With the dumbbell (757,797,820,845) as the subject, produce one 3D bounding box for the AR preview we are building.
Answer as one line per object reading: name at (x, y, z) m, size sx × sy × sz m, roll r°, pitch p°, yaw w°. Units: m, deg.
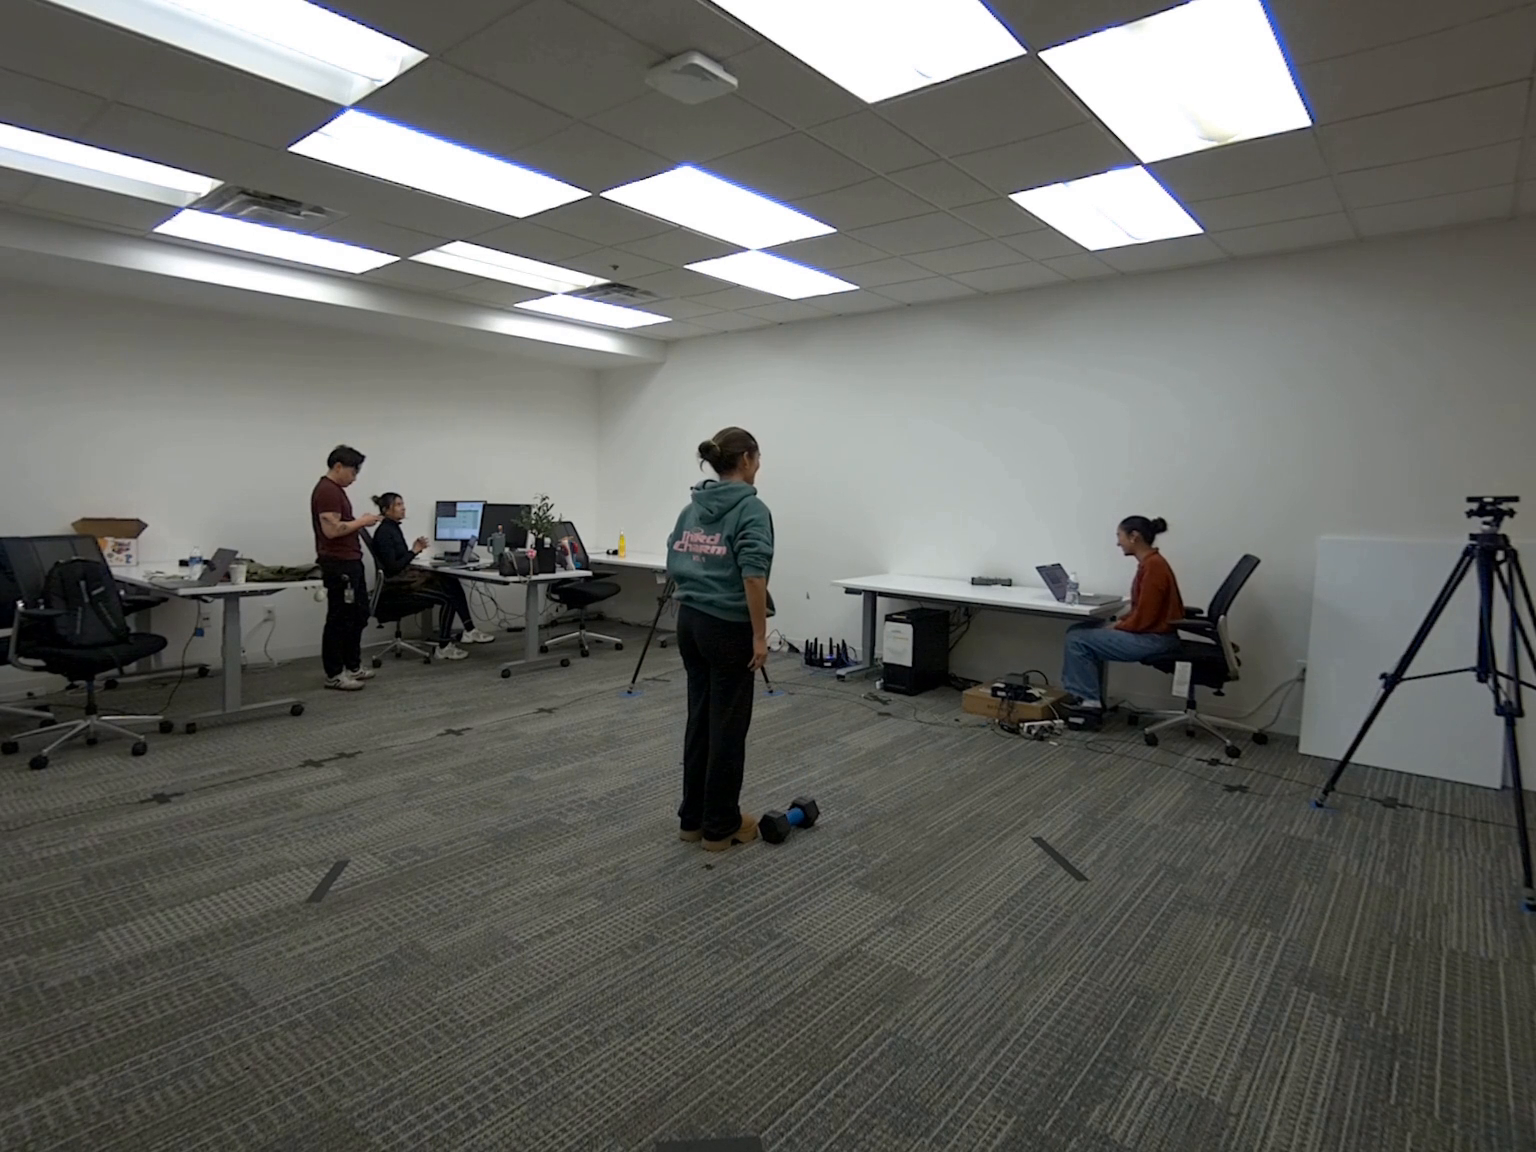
dumbbell at (0.079, 0.989, 3.447) m, size 0.113 × 0.122 × 0.285 m, roll 40°, pitch 25°, yaw 28°
